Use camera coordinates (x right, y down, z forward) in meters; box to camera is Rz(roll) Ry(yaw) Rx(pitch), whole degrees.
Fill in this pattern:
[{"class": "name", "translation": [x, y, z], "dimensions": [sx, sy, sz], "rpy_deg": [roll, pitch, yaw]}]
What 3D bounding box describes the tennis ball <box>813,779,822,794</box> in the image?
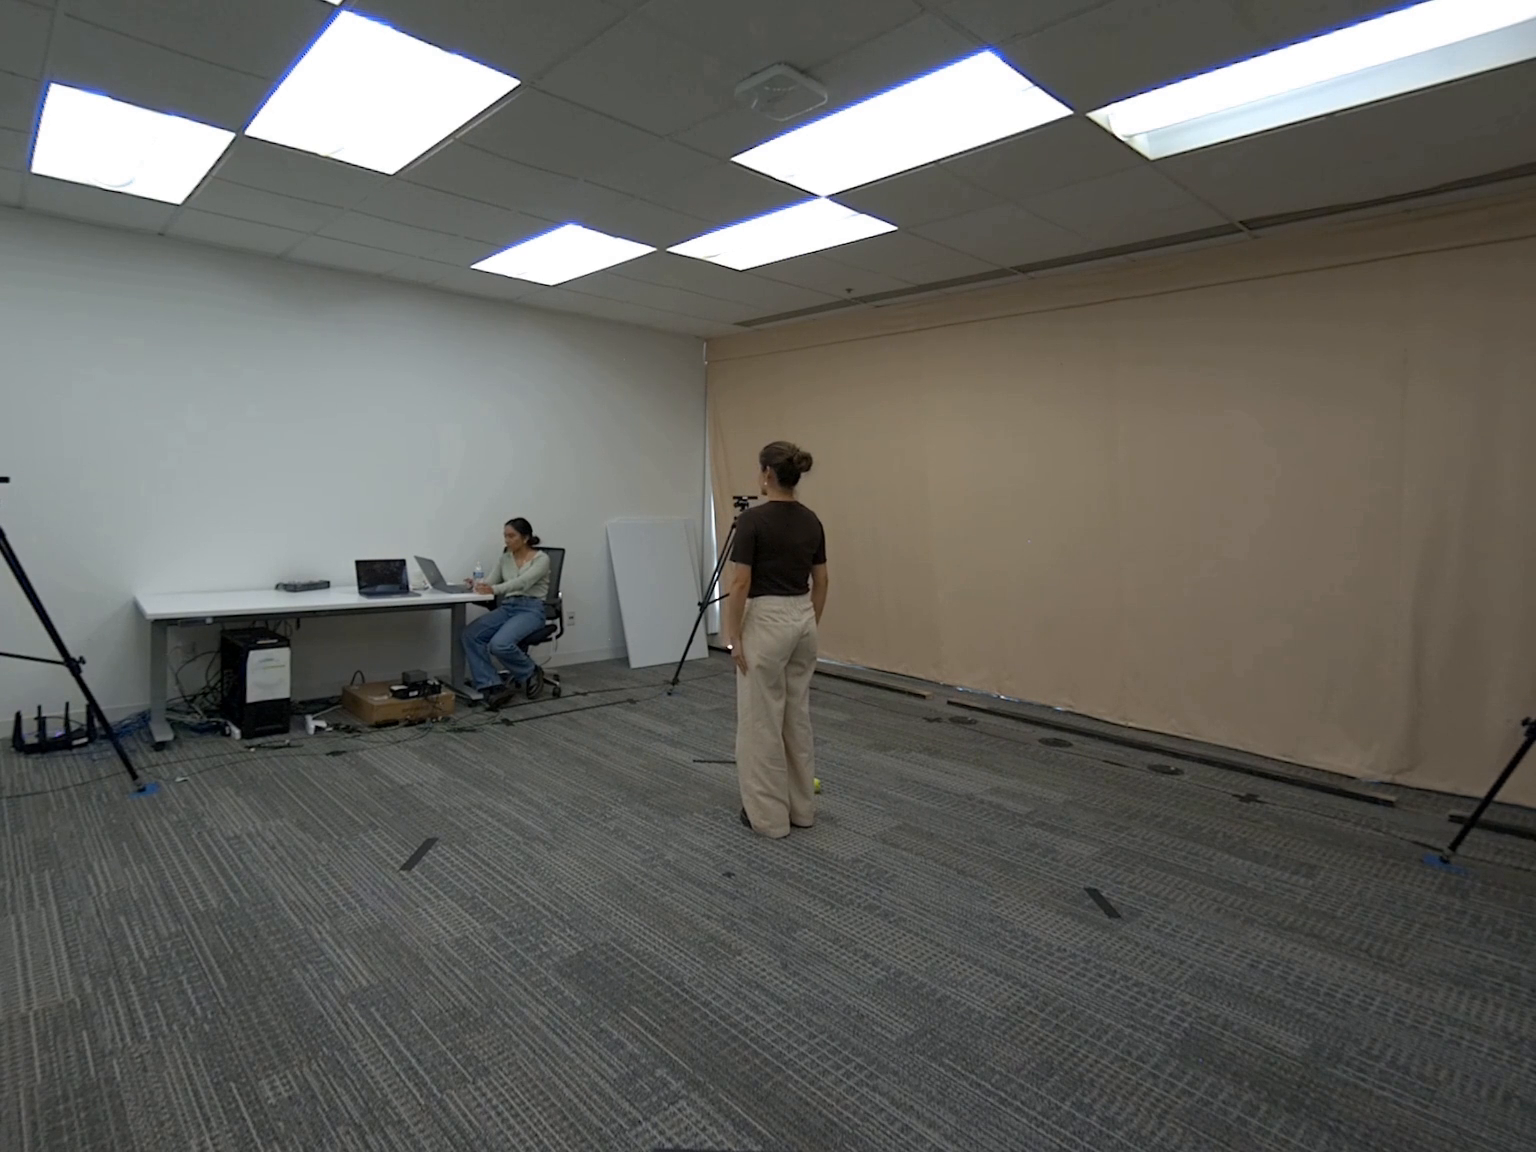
[{"class": "tennis ball", "translation": [0.211, 0.986, 4.013], "dimensions": [0.066, 0.066, 0.067], "rpy_deg": [1, 4, -1]}]
